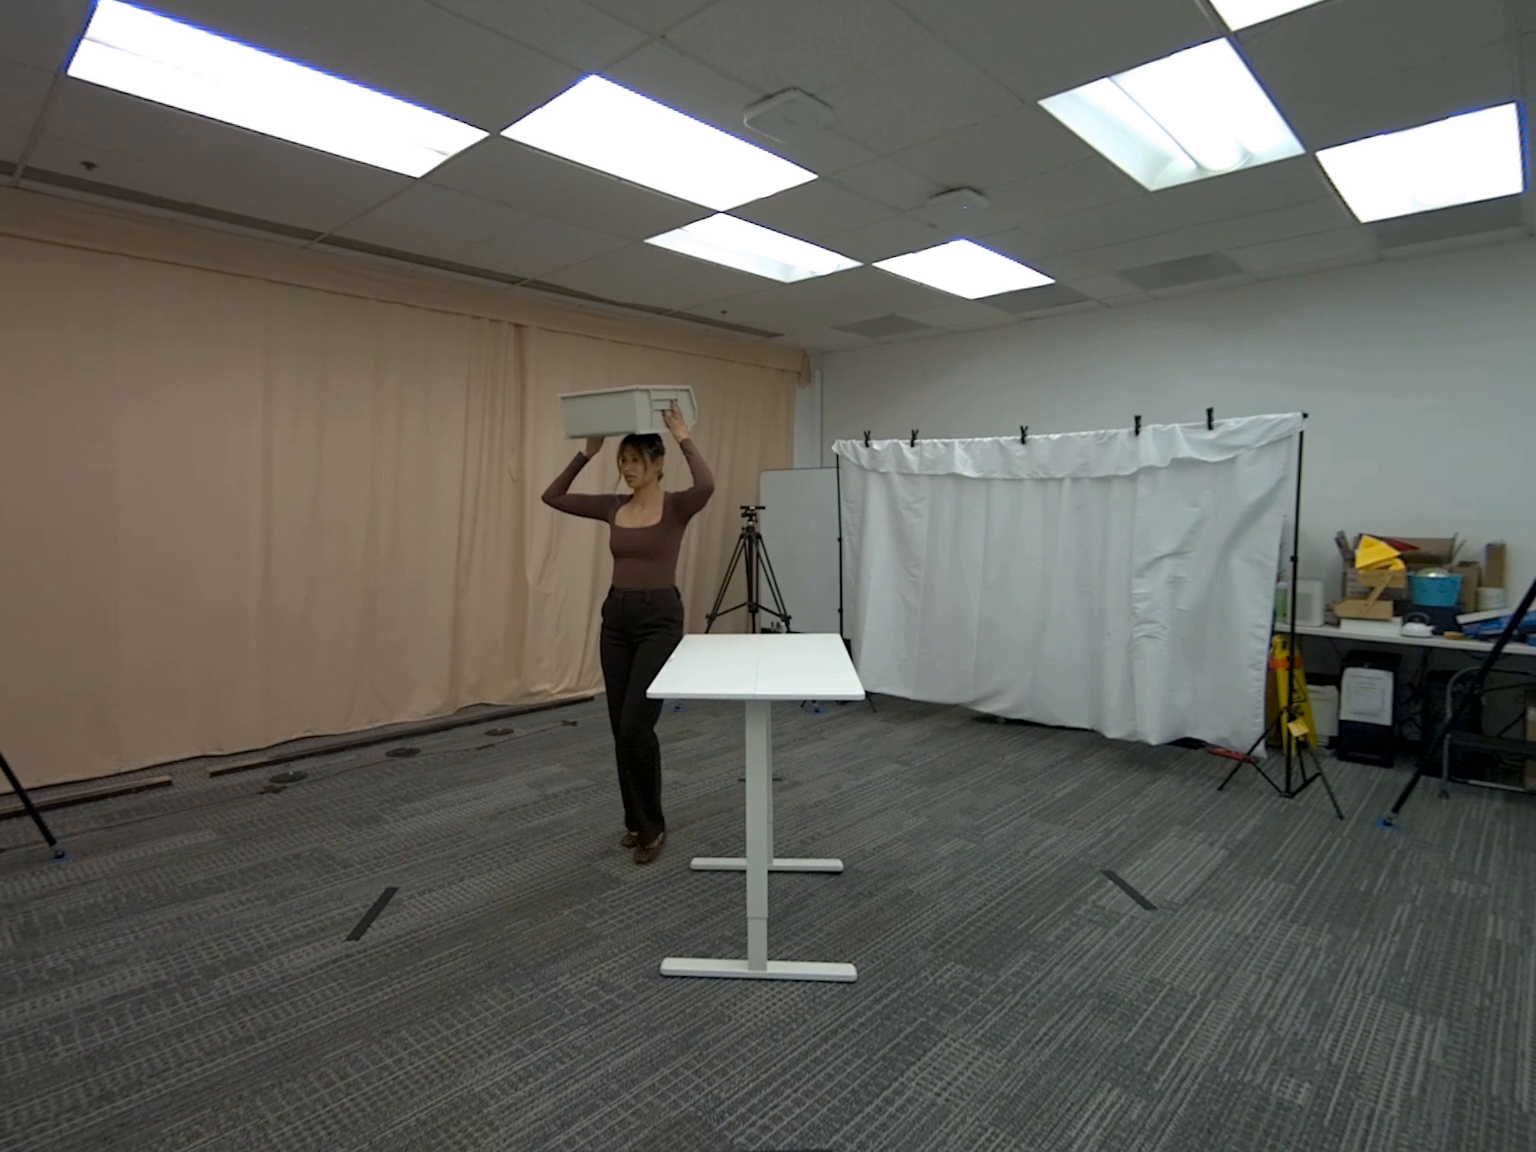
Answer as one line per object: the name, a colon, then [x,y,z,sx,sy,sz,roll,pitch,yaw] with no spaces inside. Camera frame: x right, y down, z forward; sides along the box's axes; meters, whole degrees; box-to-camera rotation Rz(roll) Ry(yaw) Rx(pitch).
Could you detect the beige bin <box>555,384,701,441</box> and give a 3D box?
beige bin: [-0.560,-0.658,3.399,0.435,0.188,0.368,3,12,33]
